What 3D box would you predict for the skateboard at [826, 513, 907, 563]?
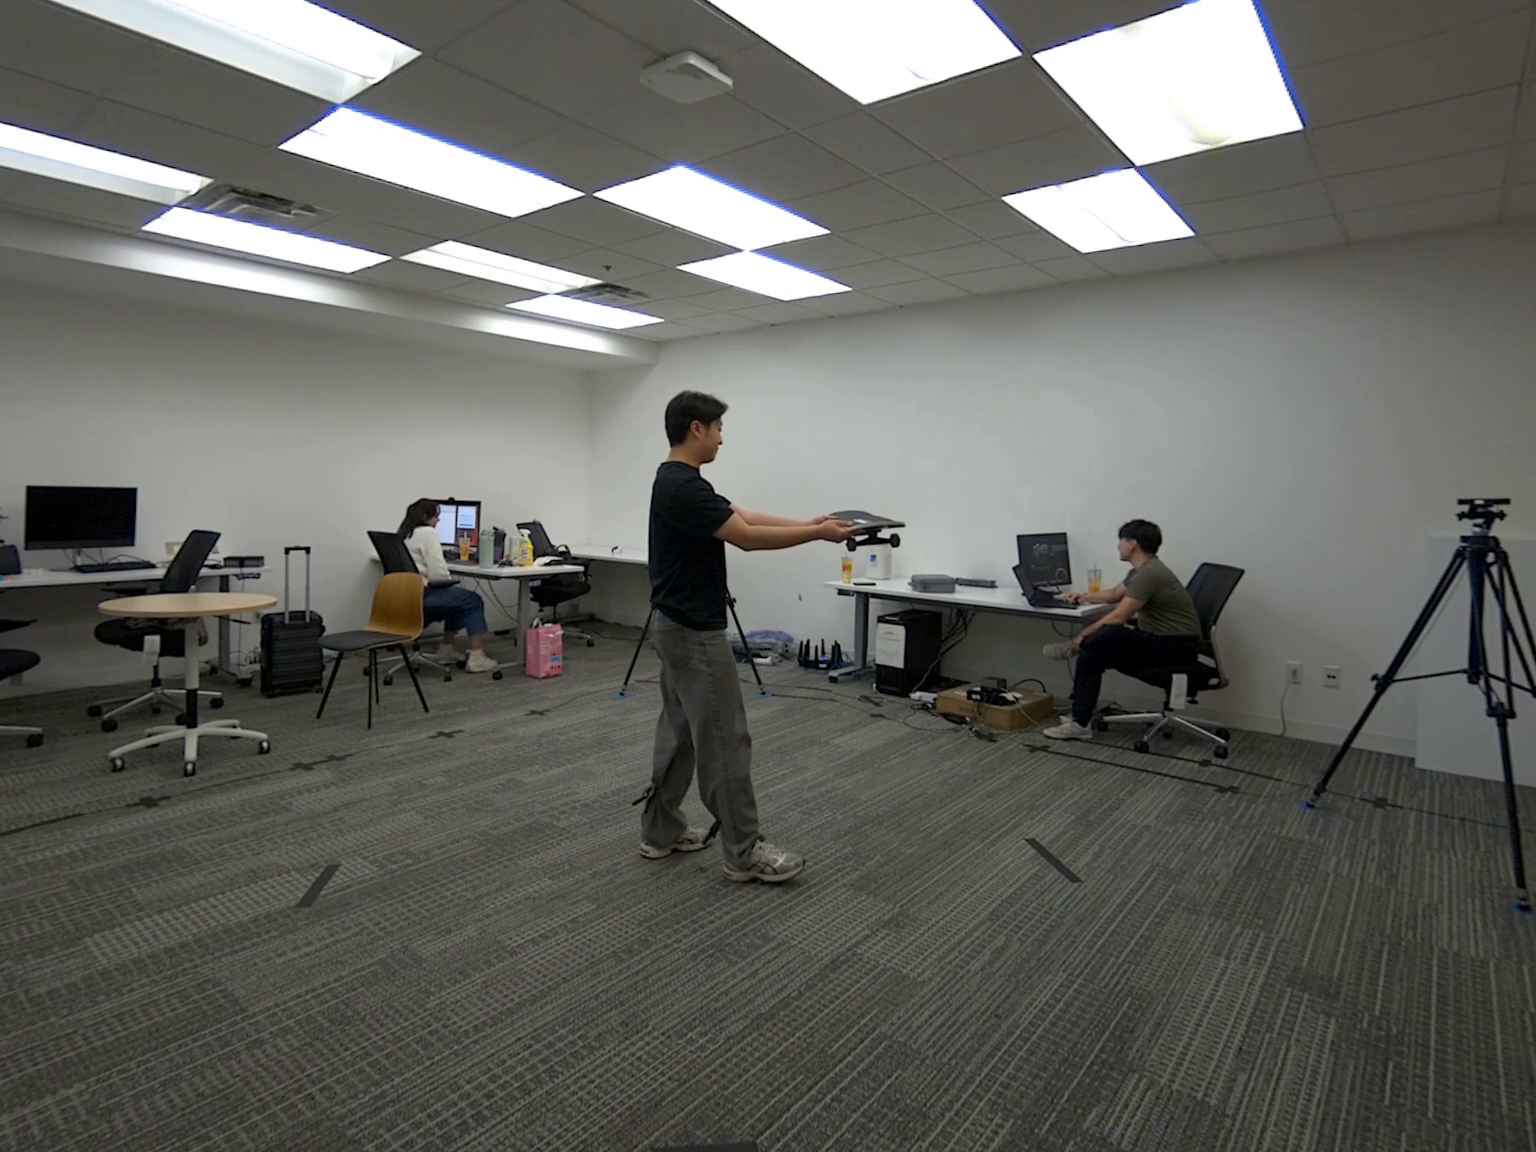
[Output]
[{"bbox_3d":[0.345,-0.154,3.127,0.194,0.110,0.788,-4,7,0],"label":"skateboard"}]
